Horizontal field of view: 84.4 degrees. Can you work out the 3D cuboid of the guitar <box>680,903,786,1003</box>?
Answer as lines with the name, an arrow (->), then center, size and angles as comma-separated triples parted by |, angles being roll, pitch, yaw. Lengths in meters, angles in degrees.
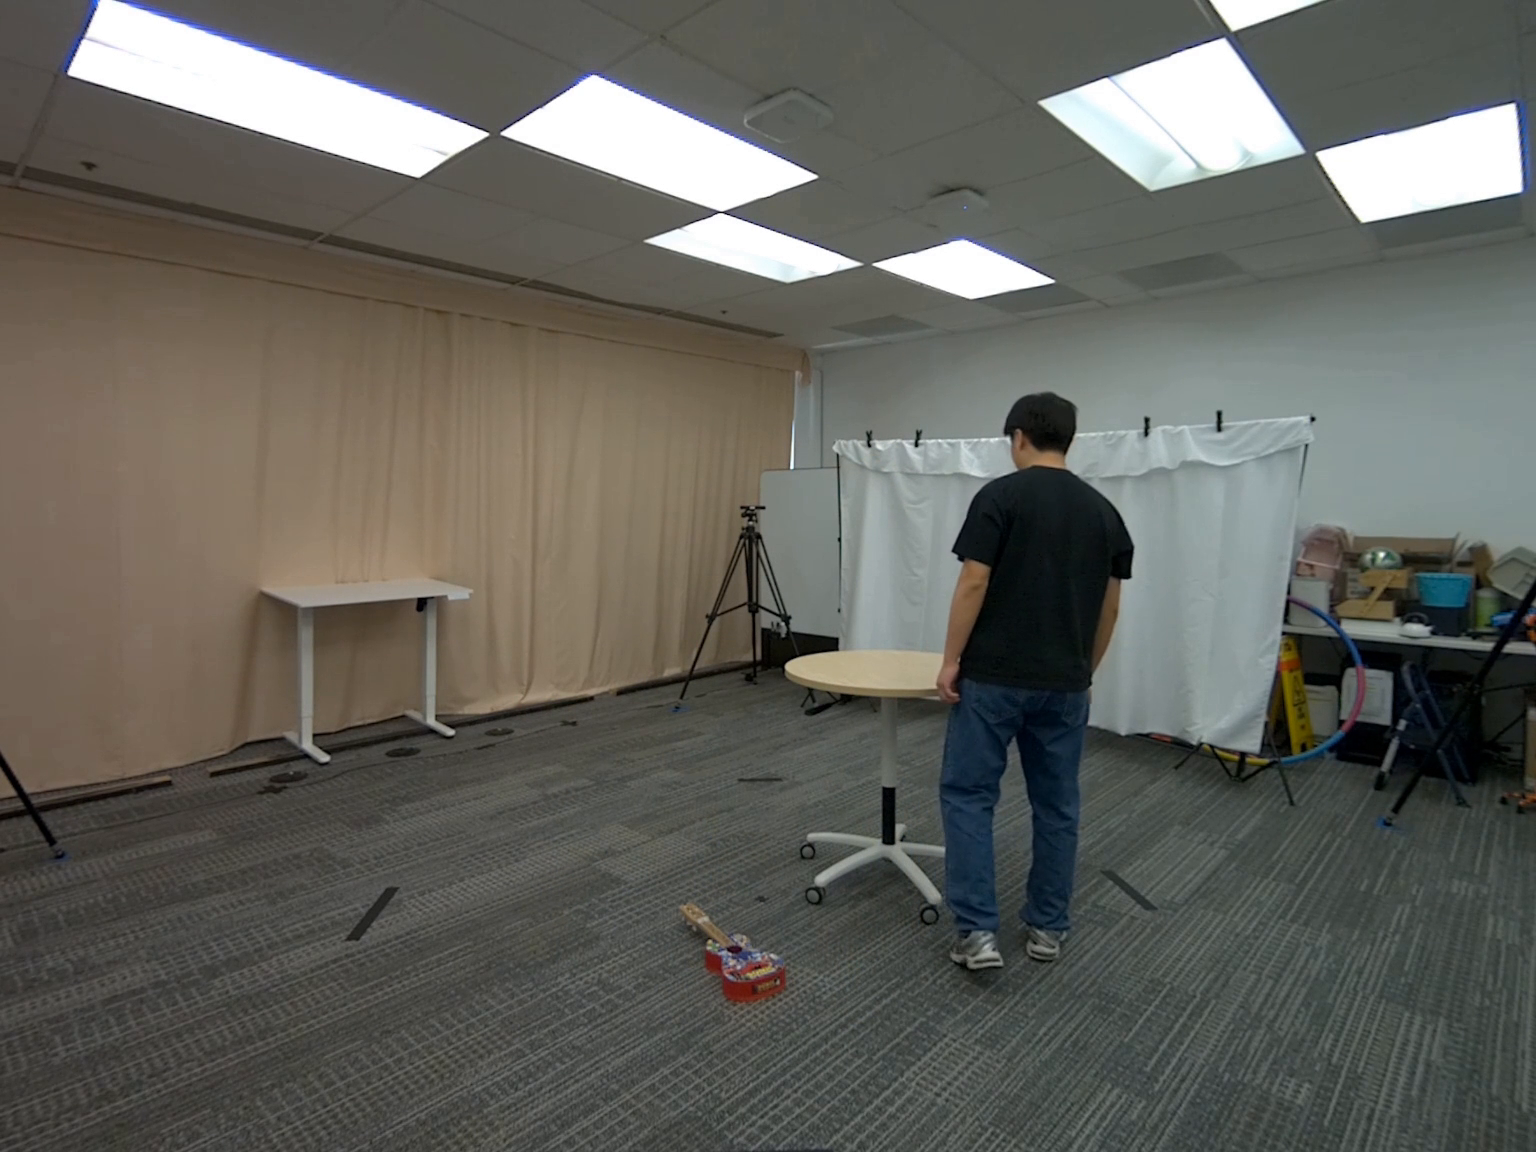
guitar -> -0.117, 1.148, 2.605 | 0.189, 0.070, 0.510 | -3, 6, -23
